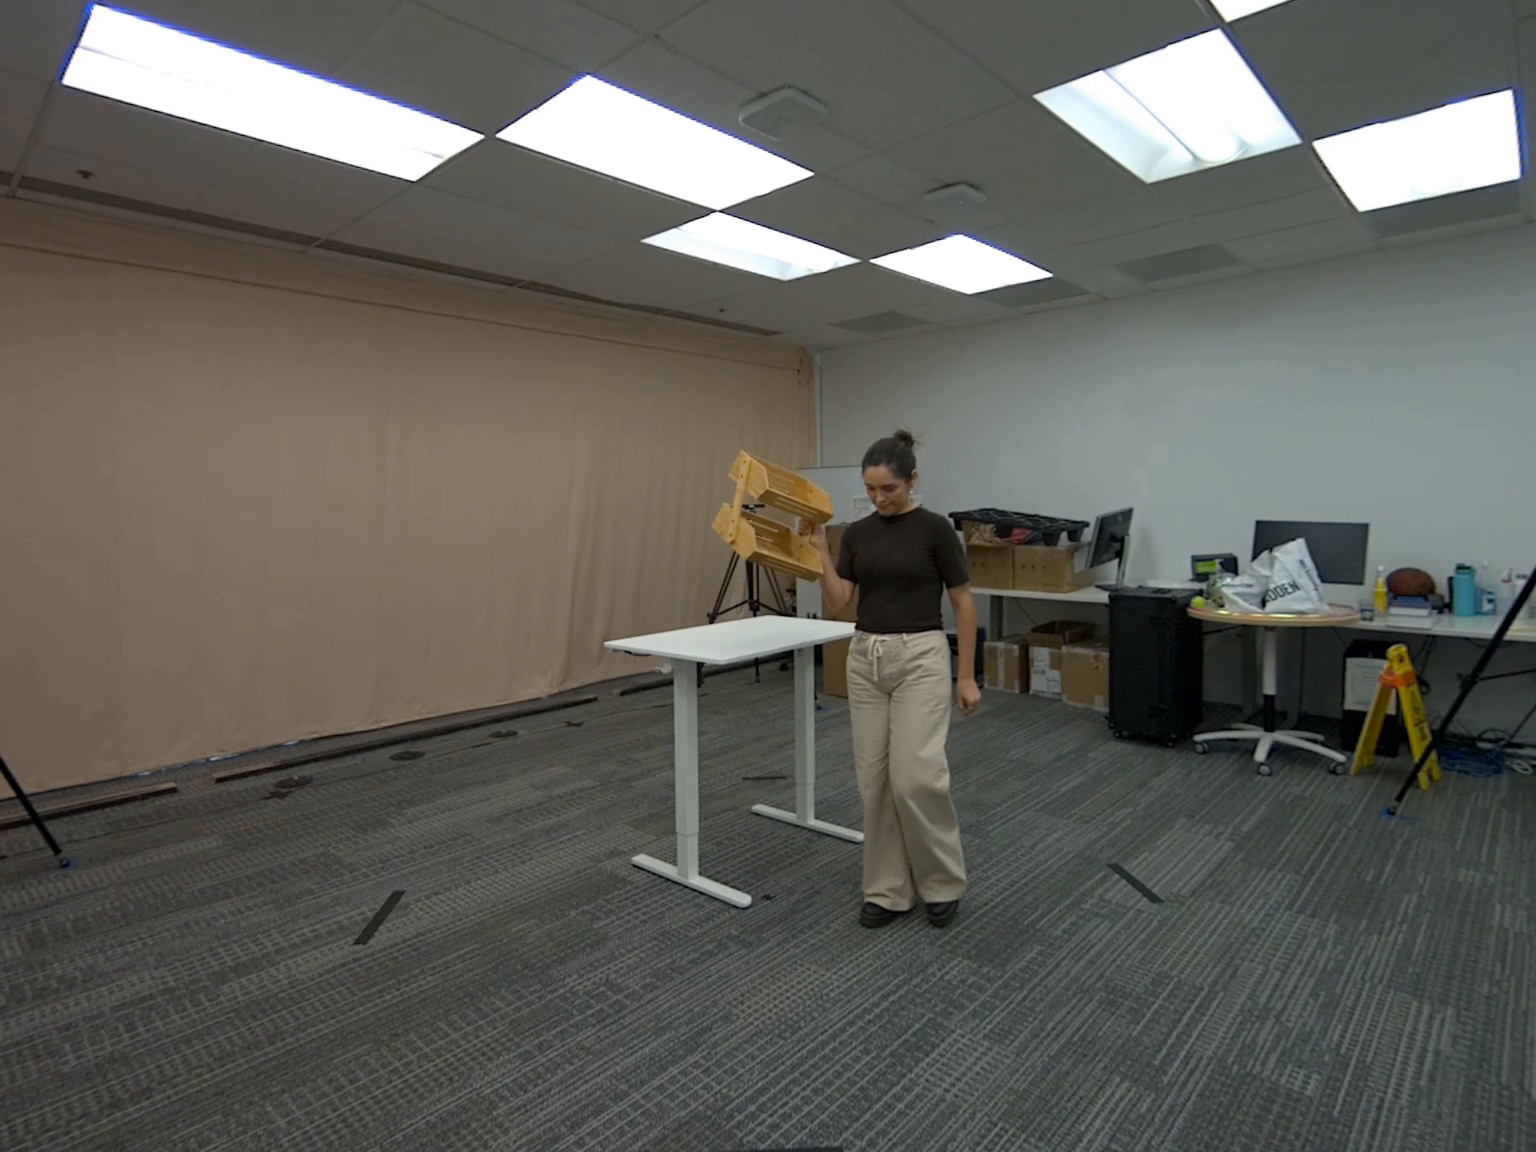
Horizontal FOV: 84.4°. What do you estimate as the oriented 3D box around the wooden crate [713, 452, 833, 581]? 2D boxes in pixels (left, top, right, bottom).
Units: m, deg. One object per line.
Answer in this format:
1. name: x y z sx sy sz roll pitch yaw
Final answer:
1. wooden crate: 0.046 -0.187 2.699 0.313 0.273 0.313 18 17 -39
